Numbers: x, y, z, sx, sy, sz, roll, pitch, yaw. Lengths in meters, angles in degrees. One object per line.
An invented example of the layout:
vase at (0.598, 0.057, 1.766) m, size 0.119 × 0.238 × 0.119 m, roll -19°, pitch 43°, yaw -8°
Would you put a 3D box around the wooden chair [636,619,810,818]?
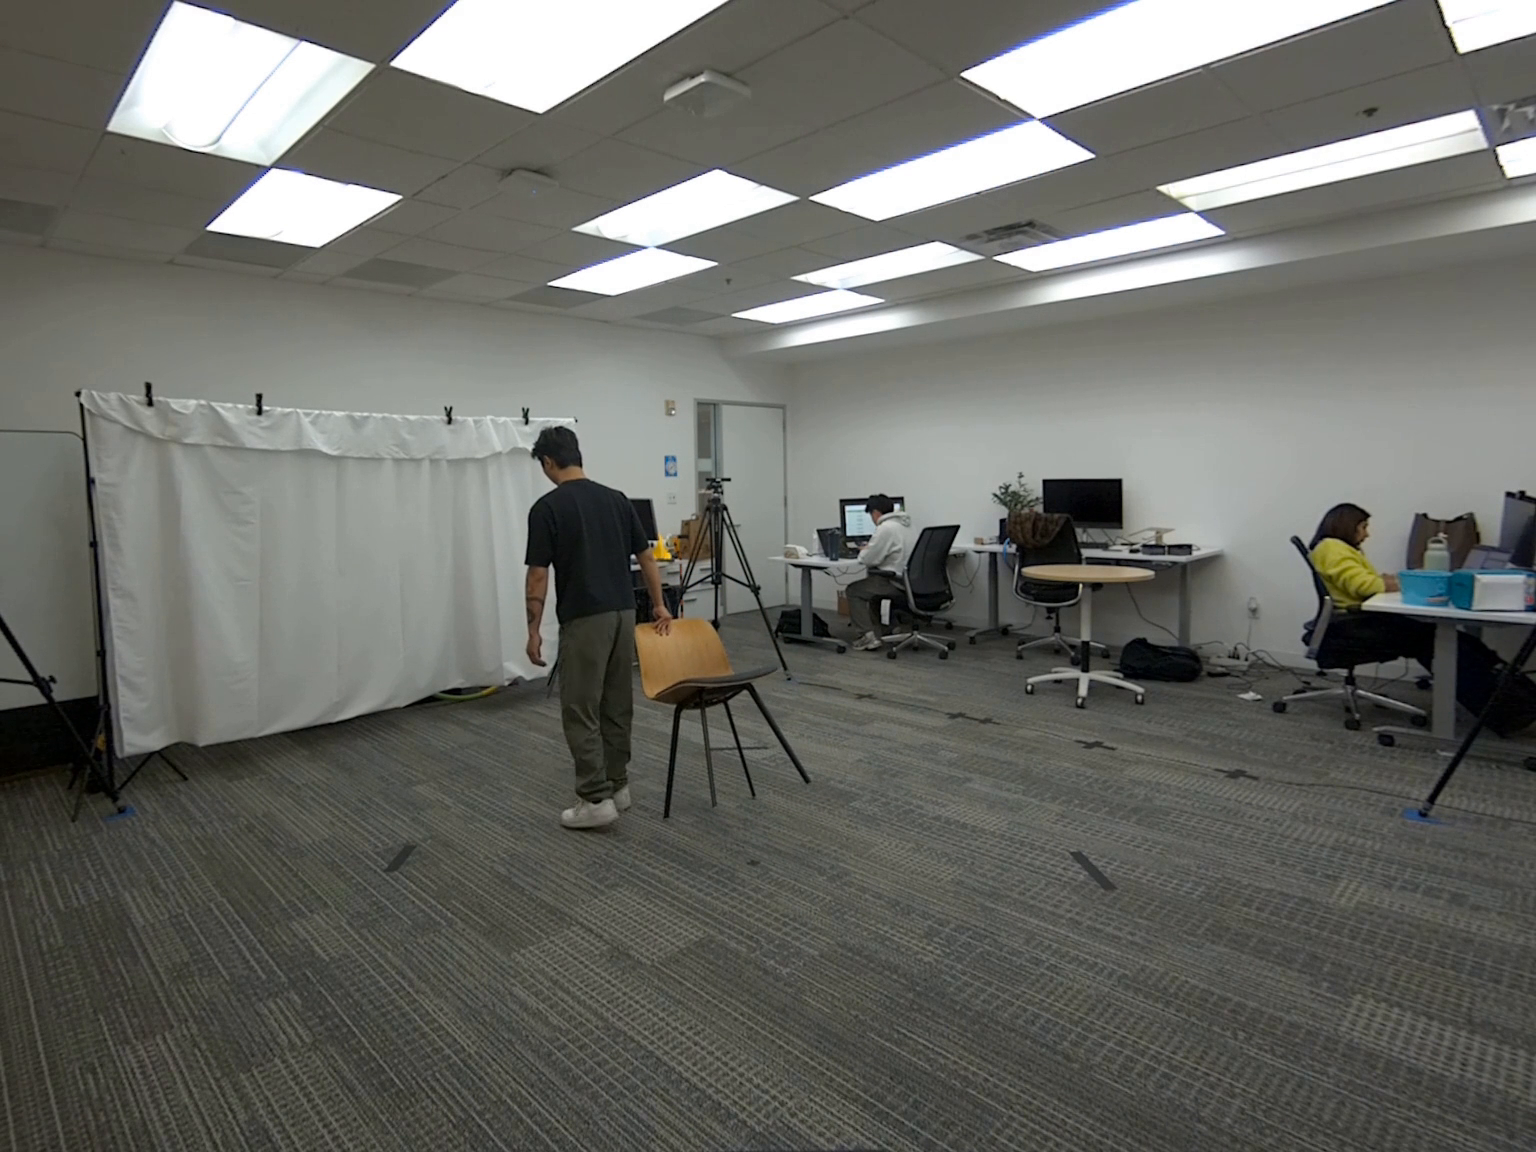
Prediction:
wooden chair at (-0.229, 0.505, 3.567) m, size 0.466 × 0.897 × 0.524 m, roll -4°, pitch -23°, yaw -32°
